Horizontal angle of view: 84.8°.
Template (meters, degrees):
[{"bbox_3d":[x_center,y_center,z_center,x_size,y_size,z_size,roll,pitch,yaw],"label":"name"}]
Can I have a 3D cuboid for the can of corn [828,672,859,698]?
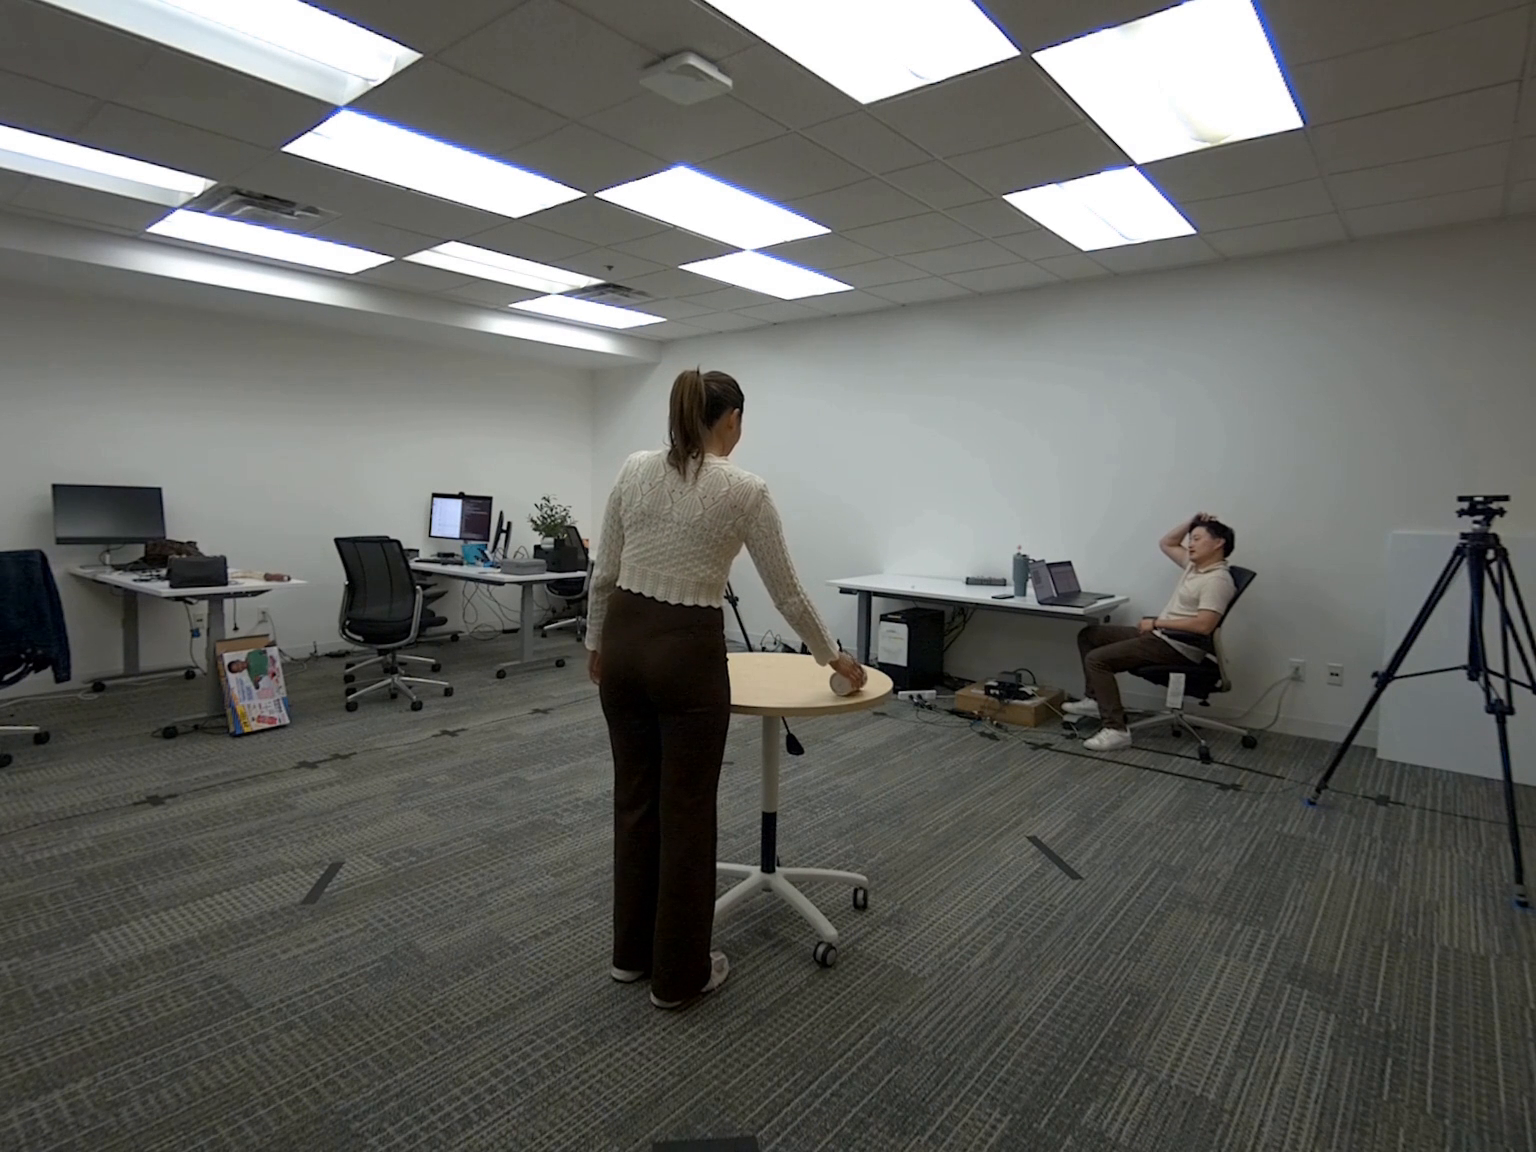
[{"bbox_3d":[0.230,0.307,2.557,0.076,0.074,0.108,3,6,26],"label":"can of corn"}]
